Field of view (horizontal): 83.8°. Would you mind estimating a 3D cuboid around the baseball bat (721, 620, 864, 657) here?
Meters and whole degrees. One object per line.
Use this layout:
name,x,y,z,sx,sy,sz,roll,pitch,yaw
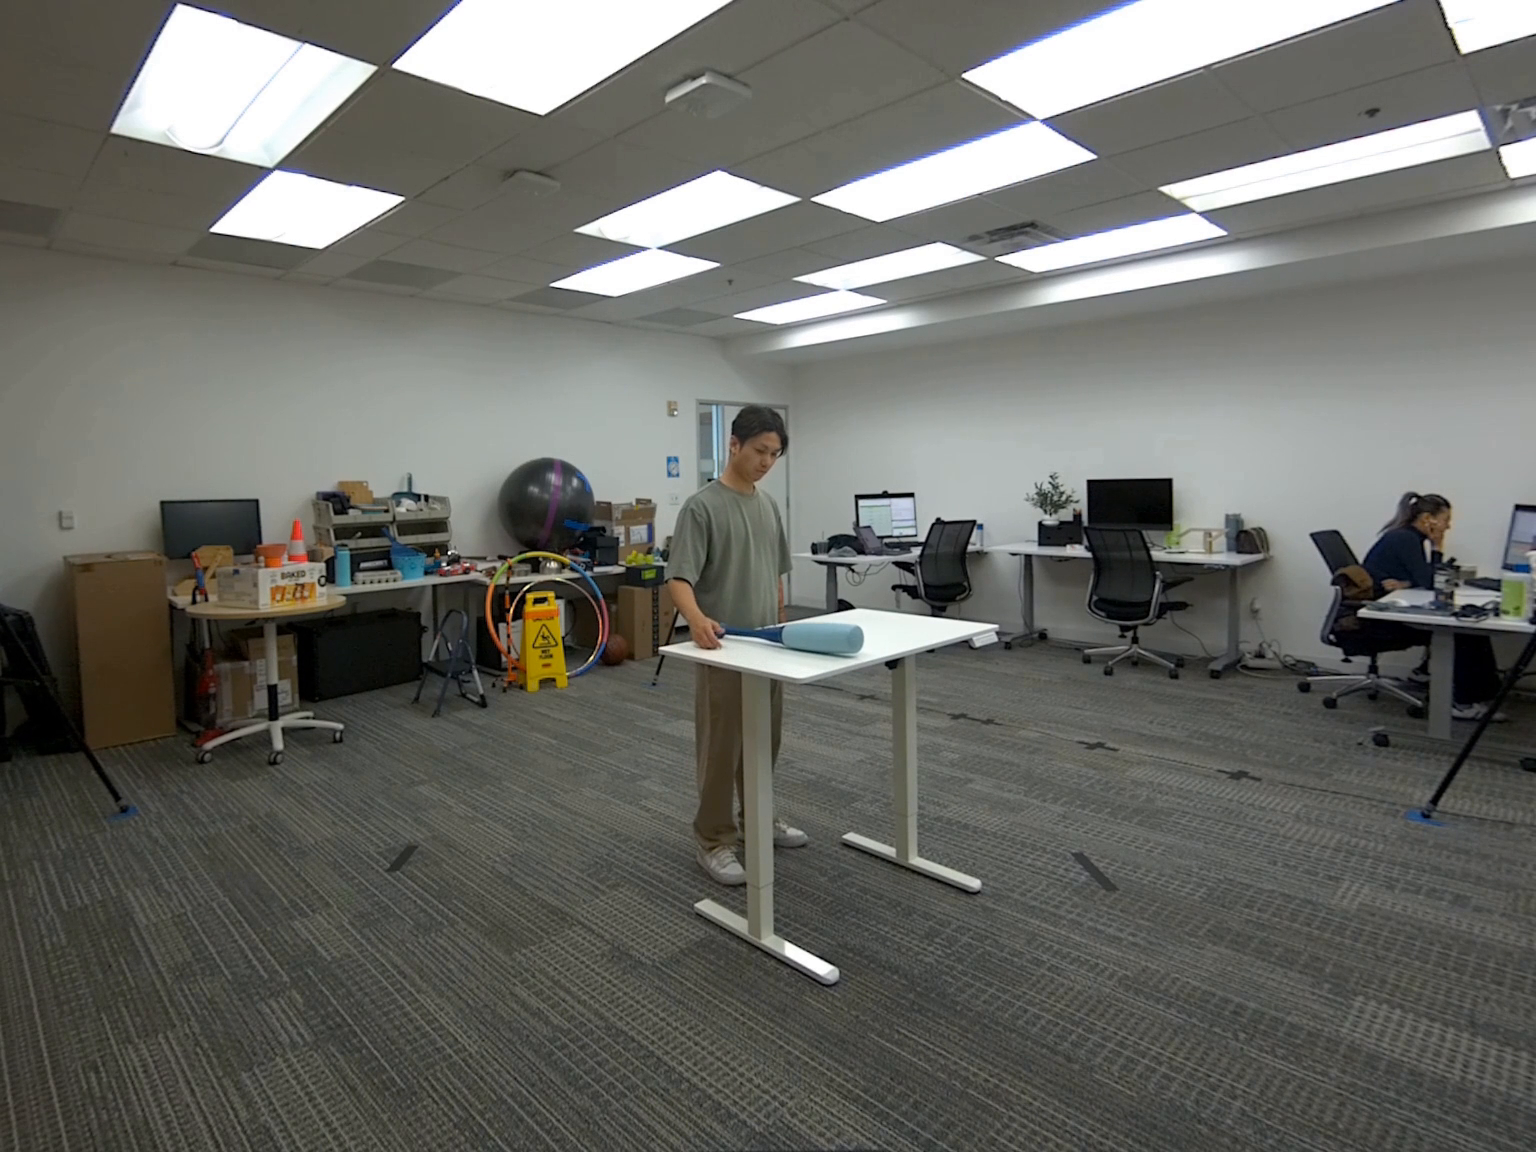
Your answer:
baseball bat,0.048,0.186,2.612,0.558,0.089,0.087,-1,3,41
